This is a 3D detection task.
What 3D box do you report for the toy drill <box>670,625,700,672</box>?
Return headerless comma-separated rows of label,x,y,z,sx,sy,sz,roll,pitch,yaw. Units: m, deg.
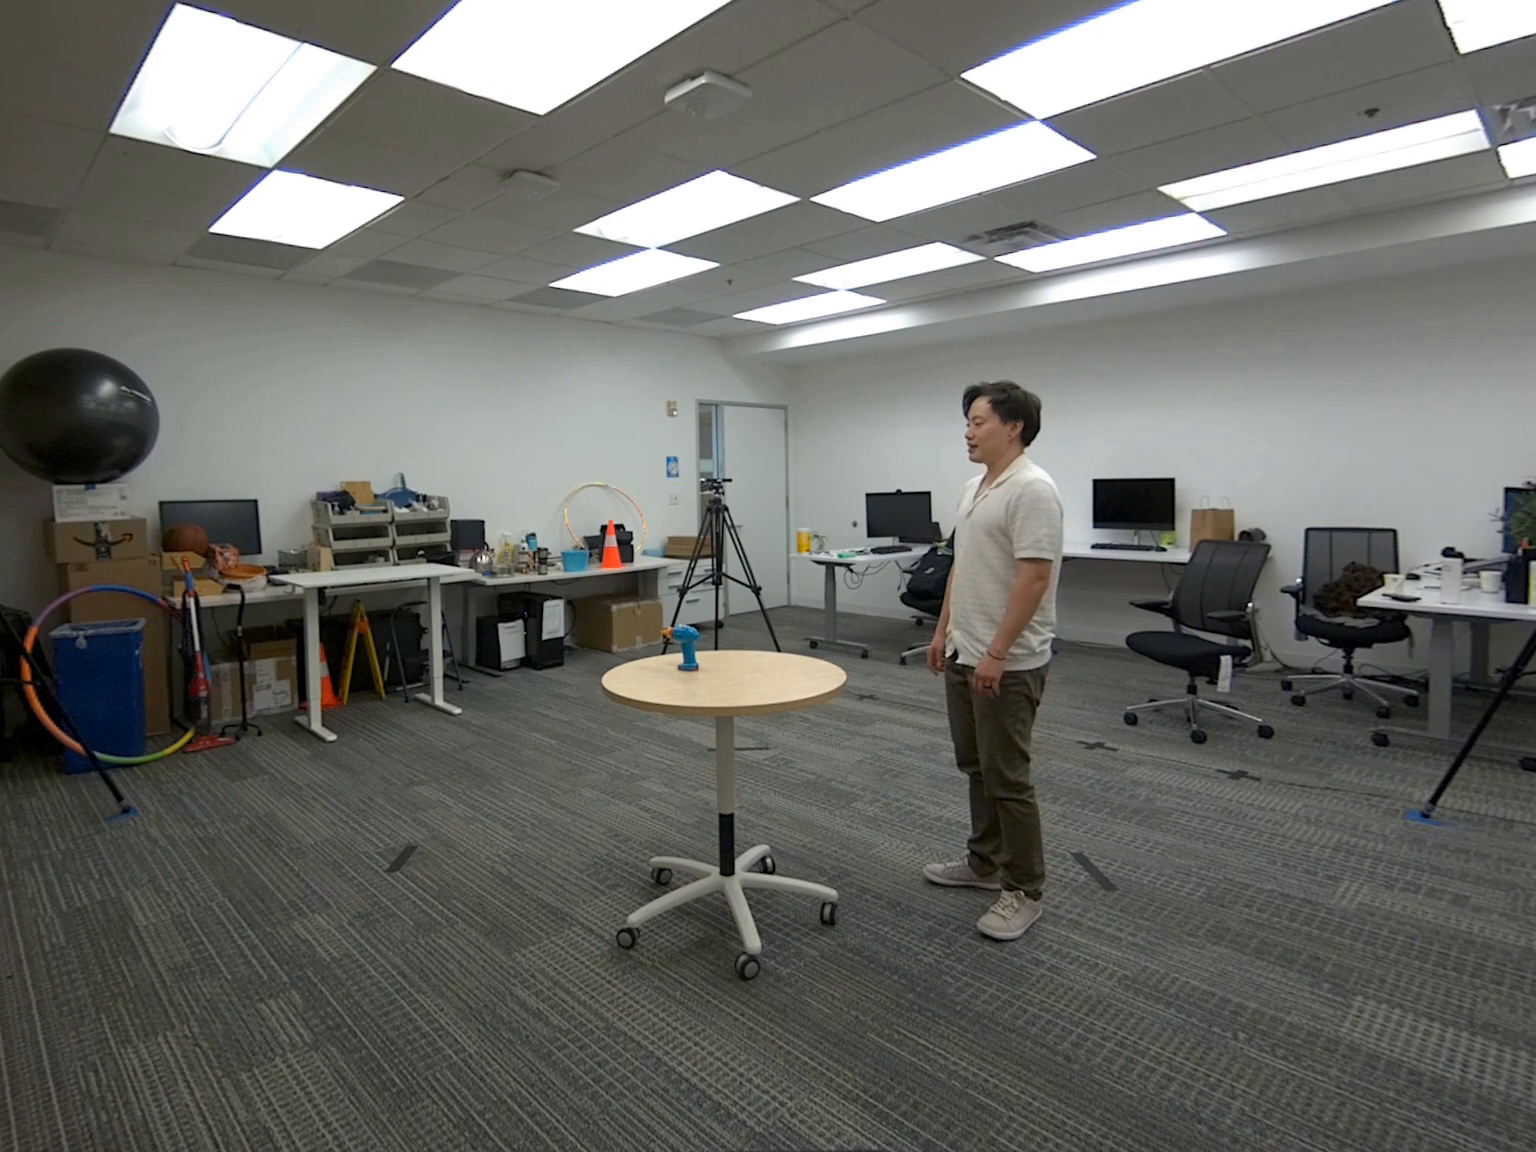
toy drill,-0.283,0.229,2.795,0.175,0.146,0.059,2,3,39
